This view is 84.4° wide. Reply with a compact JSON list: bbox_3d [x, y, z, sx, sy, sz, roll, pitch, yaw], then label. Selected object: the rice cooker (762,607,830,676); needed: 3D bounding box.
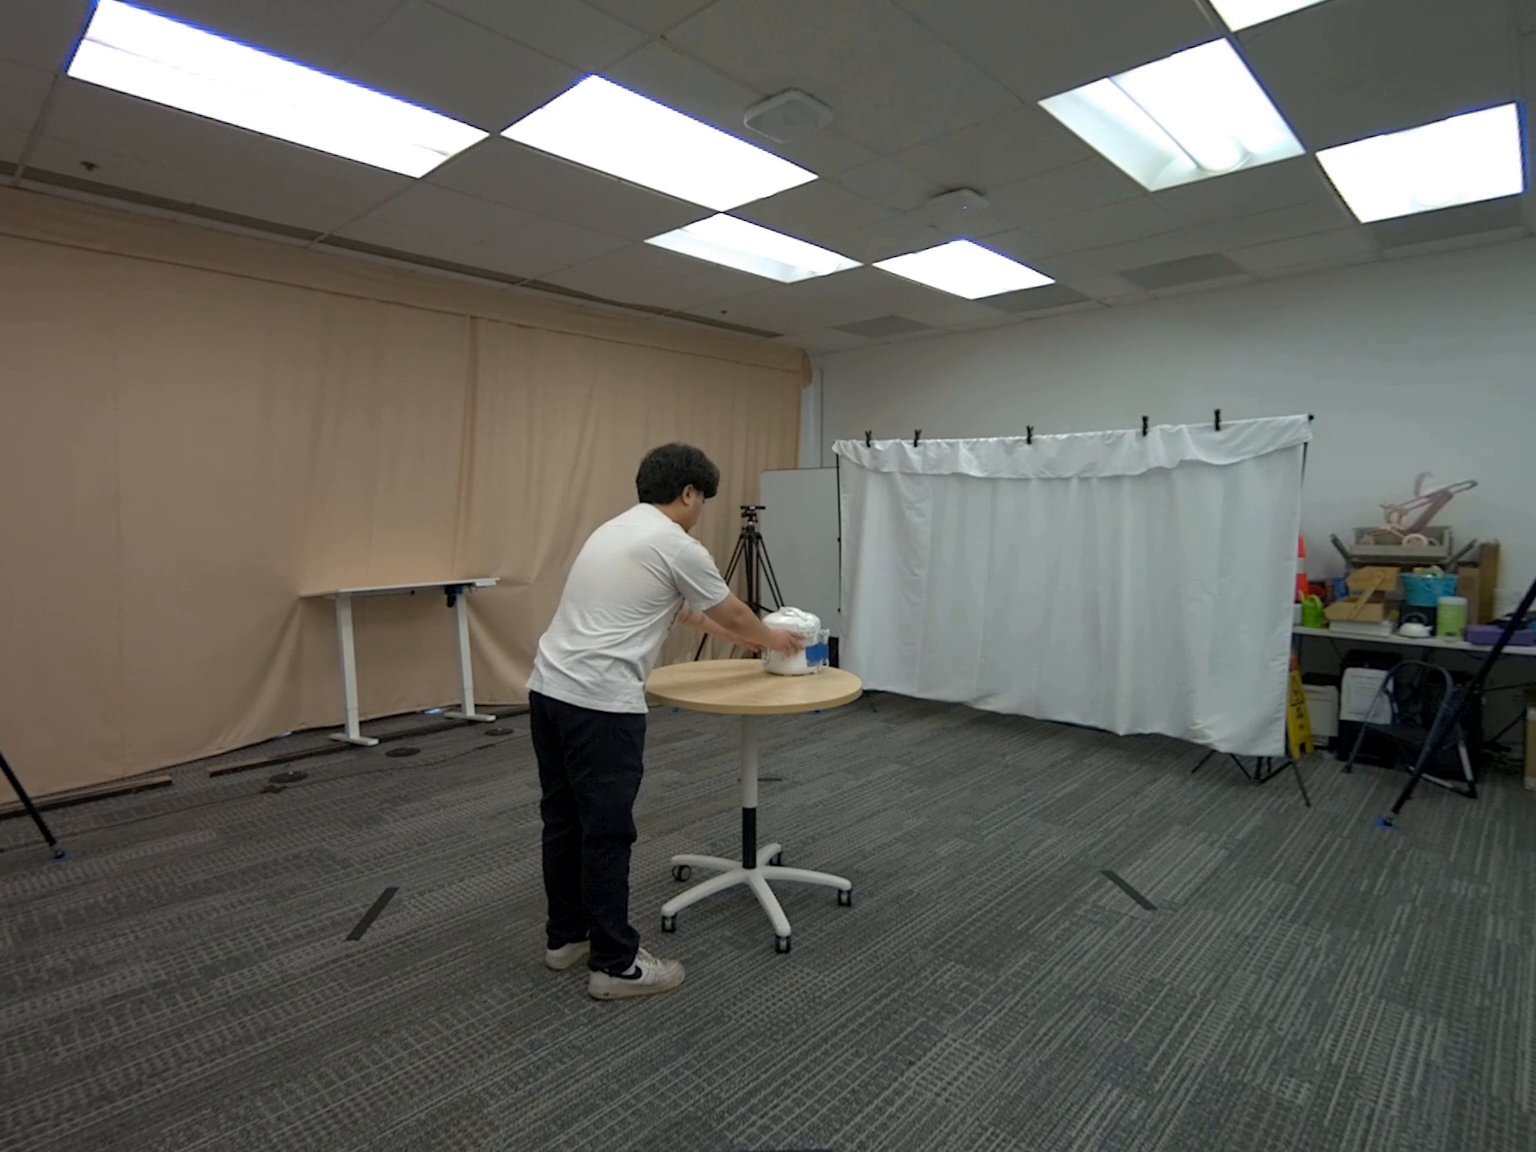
[{"bbox_3d":[0.086,0.228,3.020,0.212,0.232,0.227,0,3,-28],"label":"rice cooker"}]
